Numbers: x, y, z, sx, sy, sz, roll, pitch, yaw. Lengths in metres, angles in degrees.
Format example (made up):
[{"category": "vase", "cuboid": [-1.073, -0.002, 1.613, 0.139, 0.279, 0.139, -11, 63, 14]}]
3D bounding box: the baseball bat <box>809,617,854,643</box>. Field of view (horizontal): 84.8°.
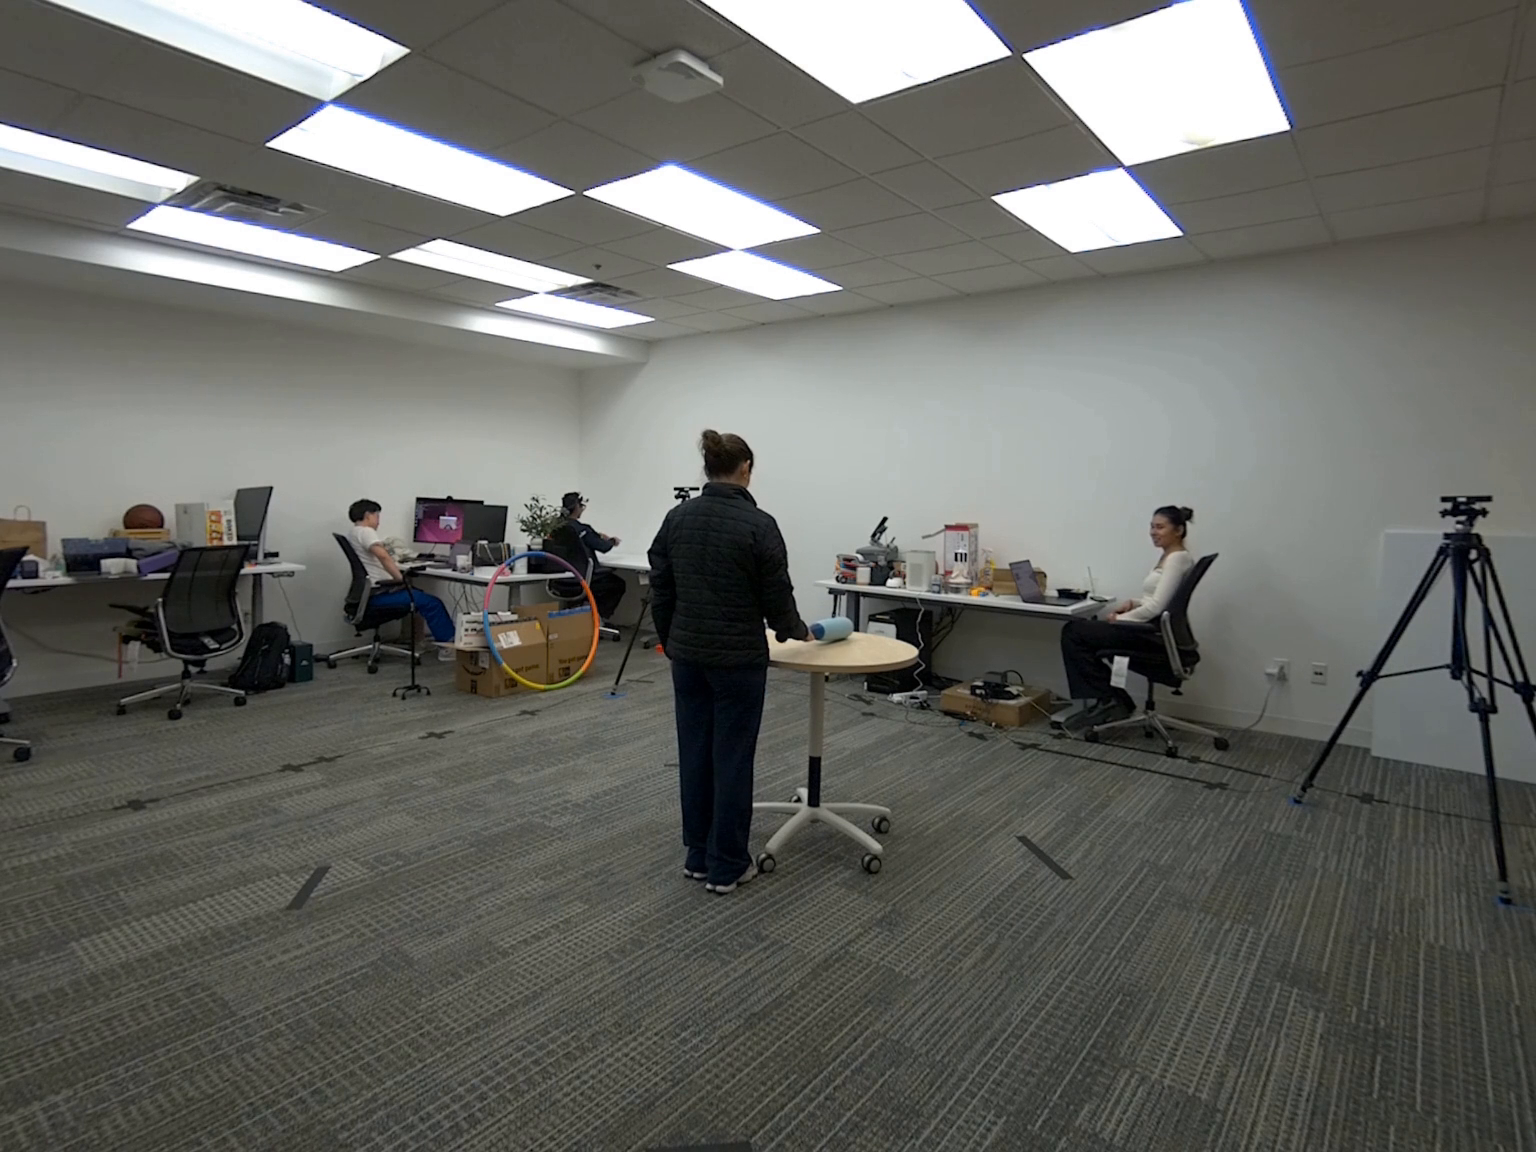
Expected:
[{"category": "baseball bat", "cuboid": [0.199, 0.210, 3.321, 0.092, 0.089, 0.527, 4, 3, 34]}]
